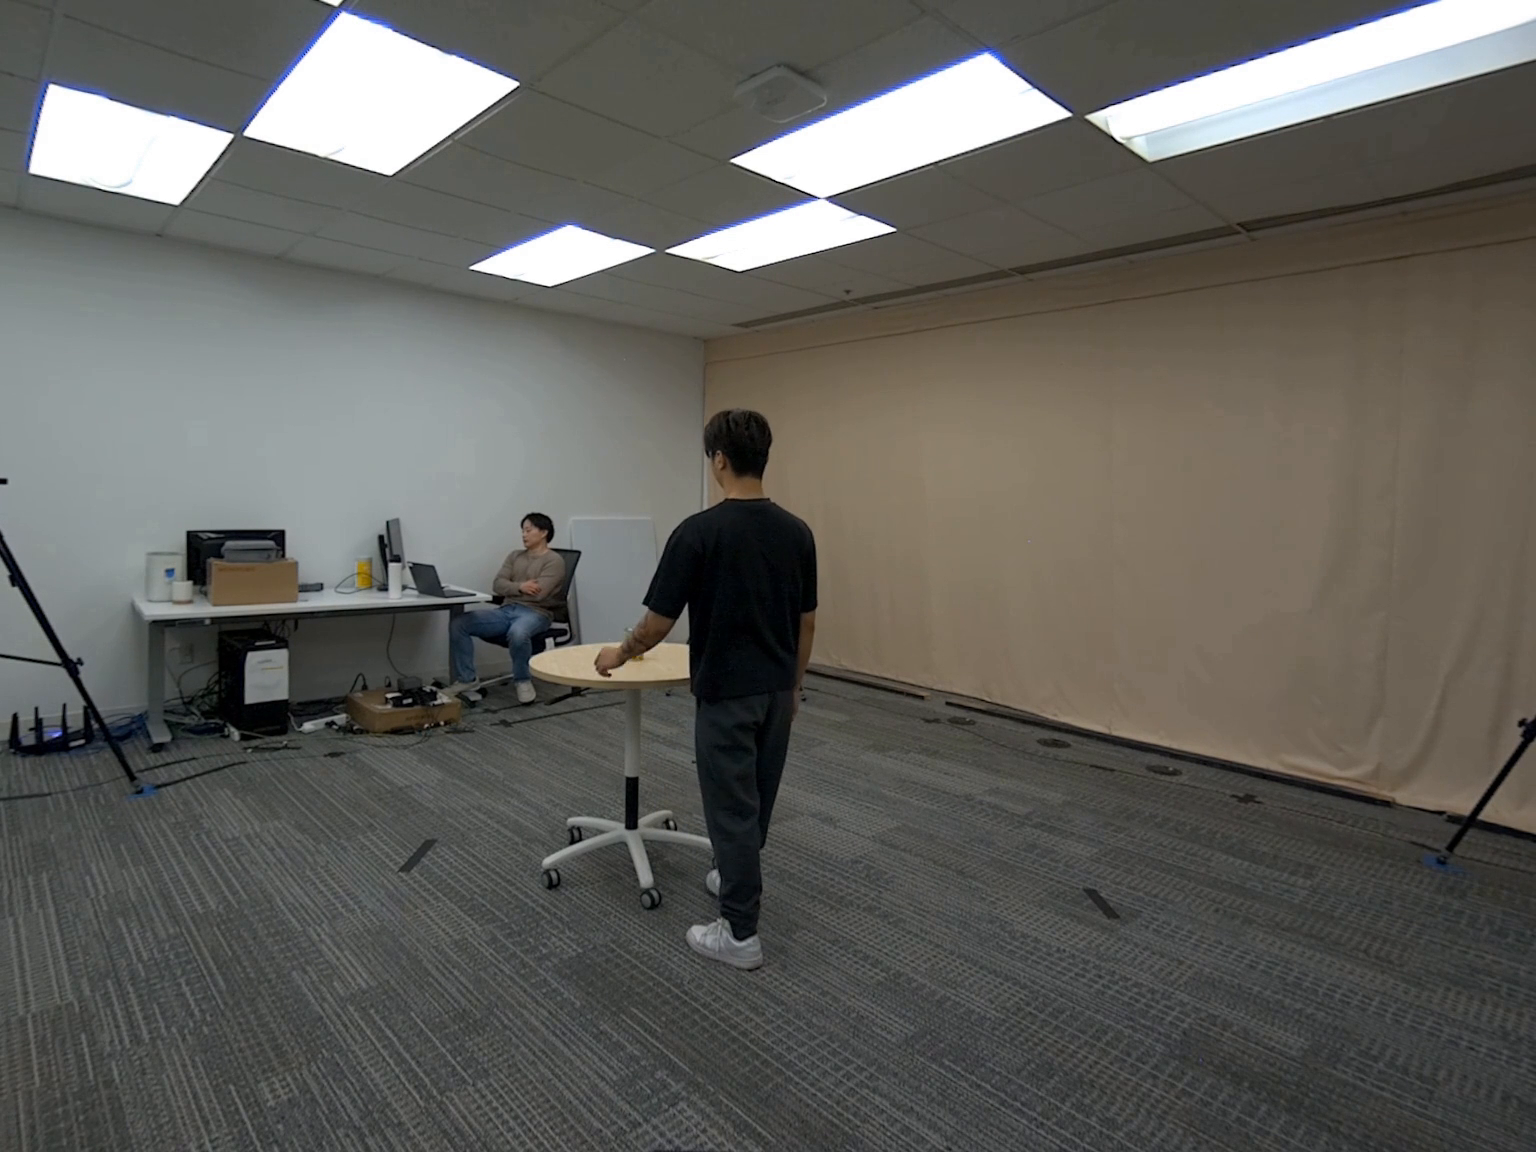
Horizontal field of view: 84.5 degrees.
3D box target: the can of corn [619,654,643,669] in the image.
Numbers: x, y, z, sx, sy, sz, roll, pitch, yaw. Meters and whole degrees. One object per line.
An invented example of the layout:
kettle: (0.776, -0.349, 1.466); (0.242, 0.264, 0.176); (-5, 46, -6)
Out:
can of corn: (-0.512, 0.260, 3.139); (0.074, 0.111, 0.074); (0, 3, -1)
